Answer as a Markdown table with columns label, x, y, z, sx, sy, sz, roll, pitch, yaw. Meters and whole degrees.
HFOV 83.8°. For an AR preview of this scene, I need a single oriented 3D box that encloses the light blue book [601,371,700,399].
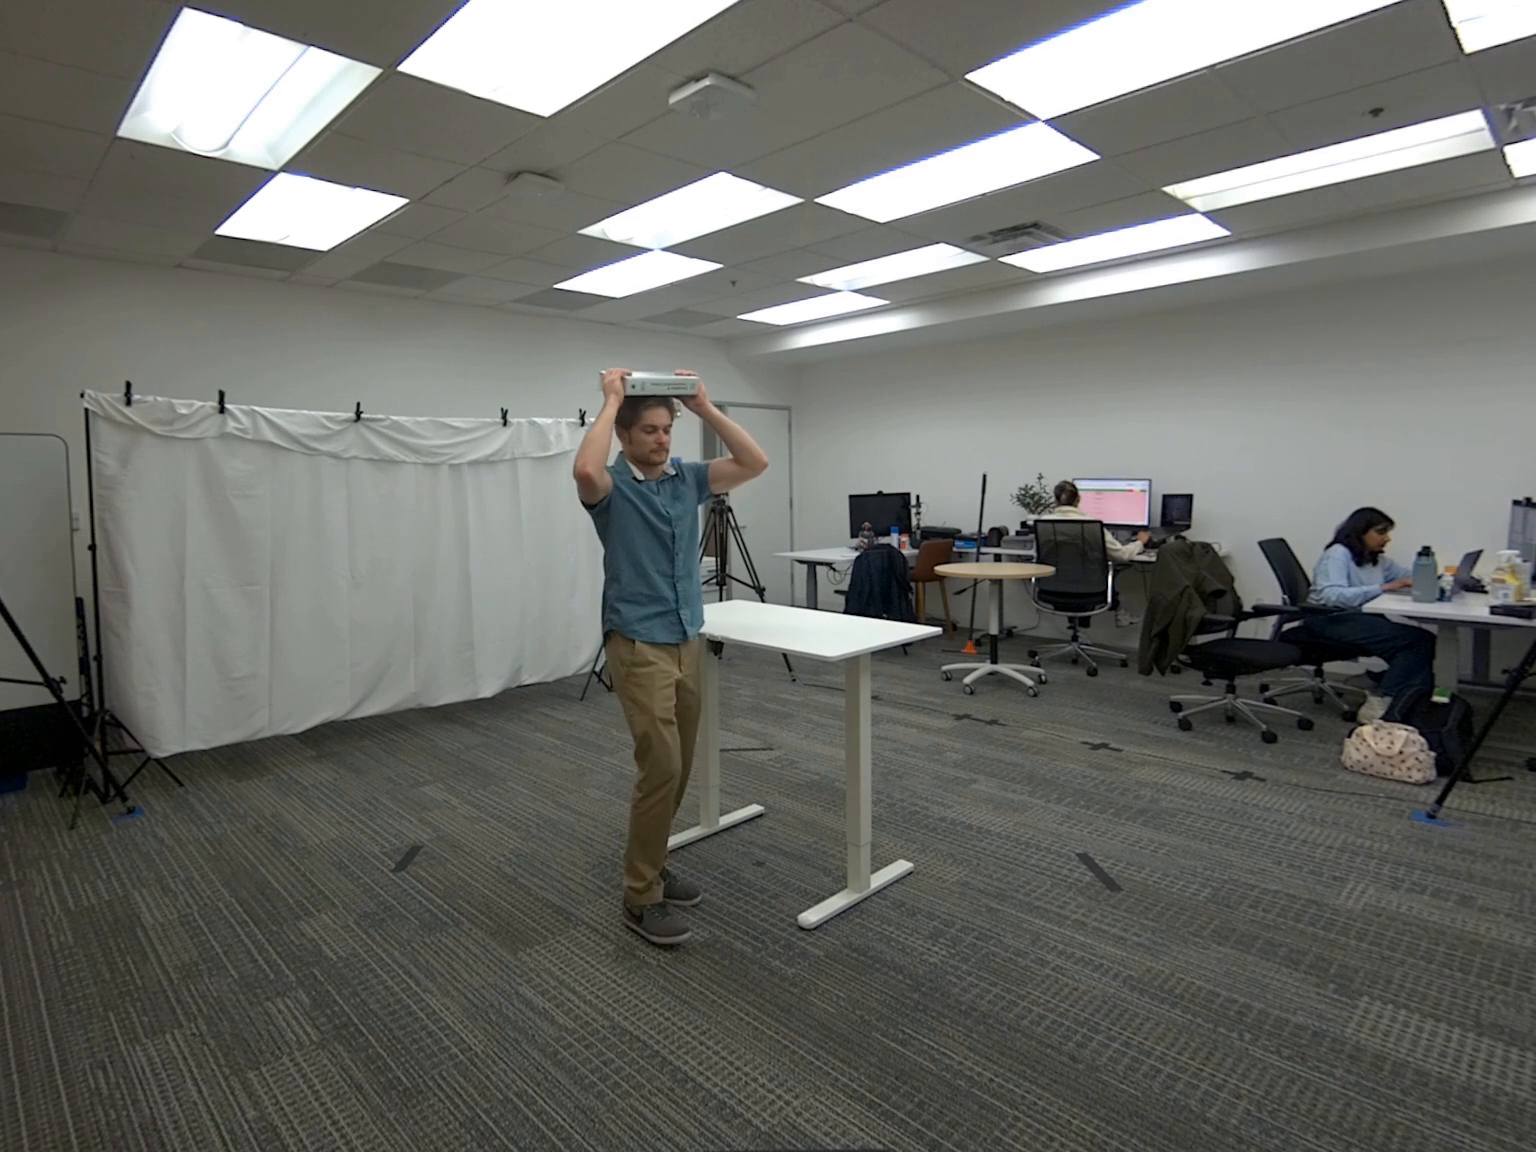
| label | x | y | z | sx | sy | sz | roll | pitch | yaw |
| --- | --- | --- | --- | --- | --- | --- | --- | --- | --- |
| light blue book | -0.381 | -0.611 | 2.713 | 0.255 | 0.058 | 0.198 | -10 | 19 | -36 |
